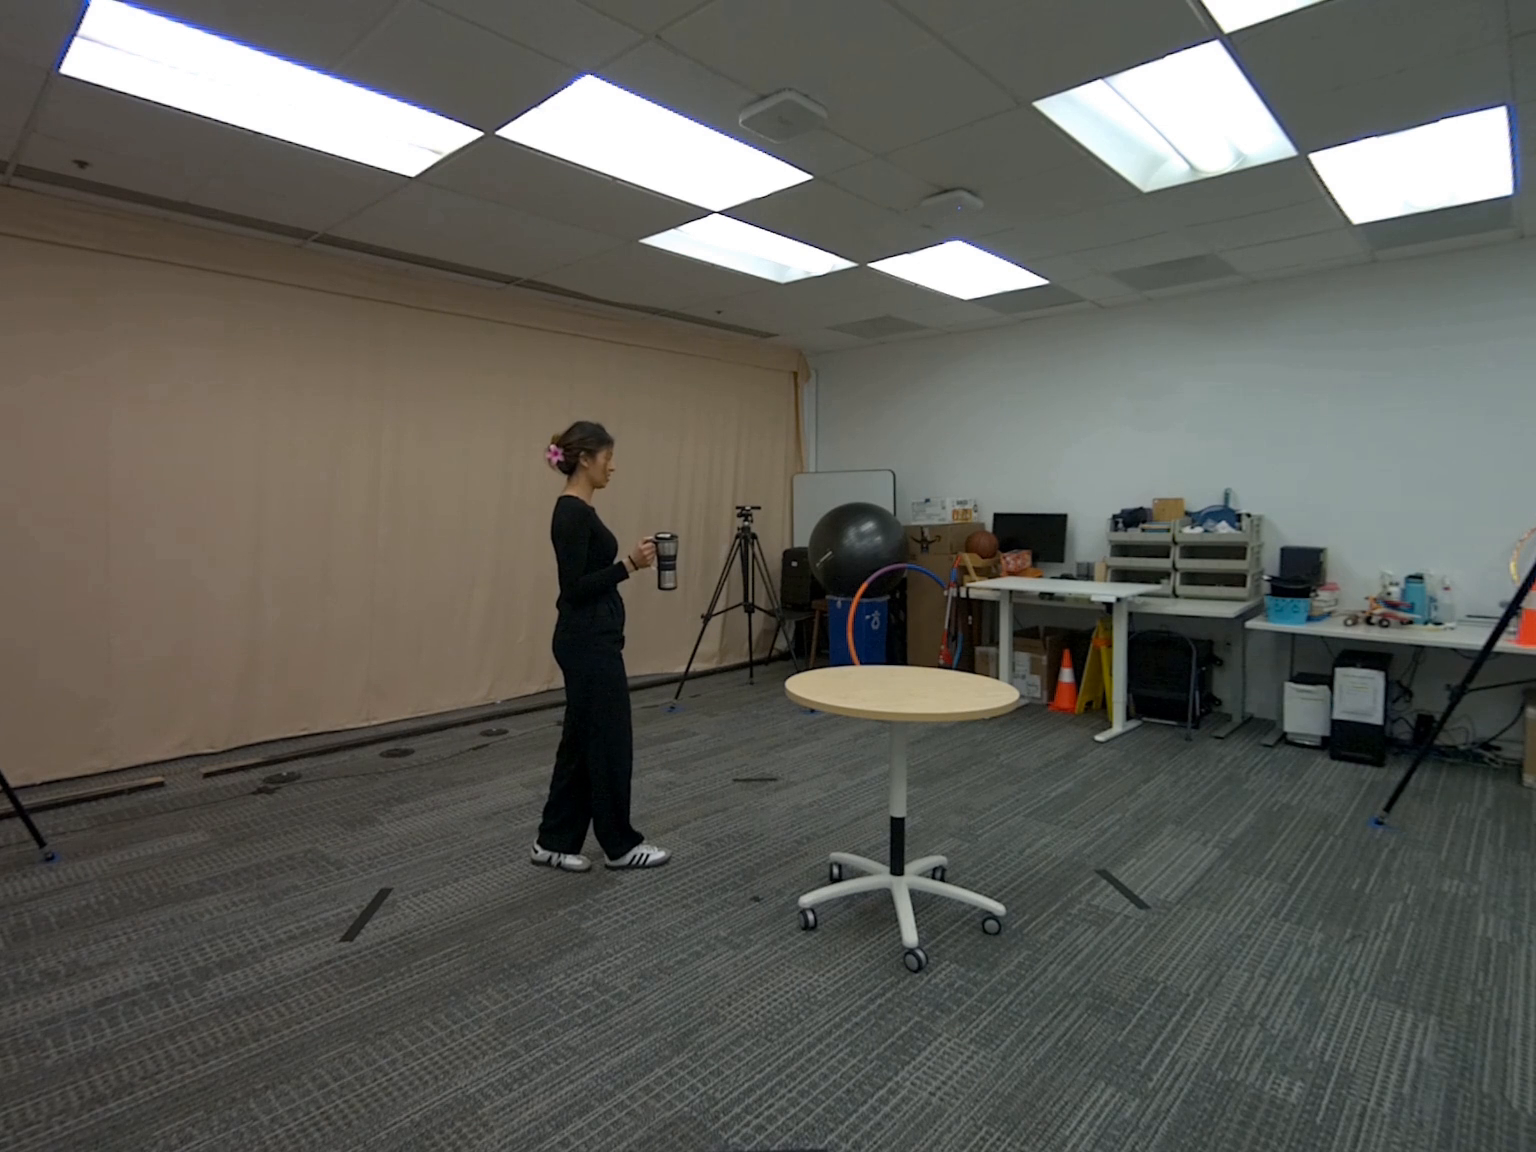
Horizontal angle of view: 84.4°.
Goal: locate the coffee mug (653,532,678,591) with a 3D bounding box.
[{"bbox_3d":[-0.388,-0.048,3.085,0.125,0.201,0.086,6,15,25],"label":"coffee mug"}]
